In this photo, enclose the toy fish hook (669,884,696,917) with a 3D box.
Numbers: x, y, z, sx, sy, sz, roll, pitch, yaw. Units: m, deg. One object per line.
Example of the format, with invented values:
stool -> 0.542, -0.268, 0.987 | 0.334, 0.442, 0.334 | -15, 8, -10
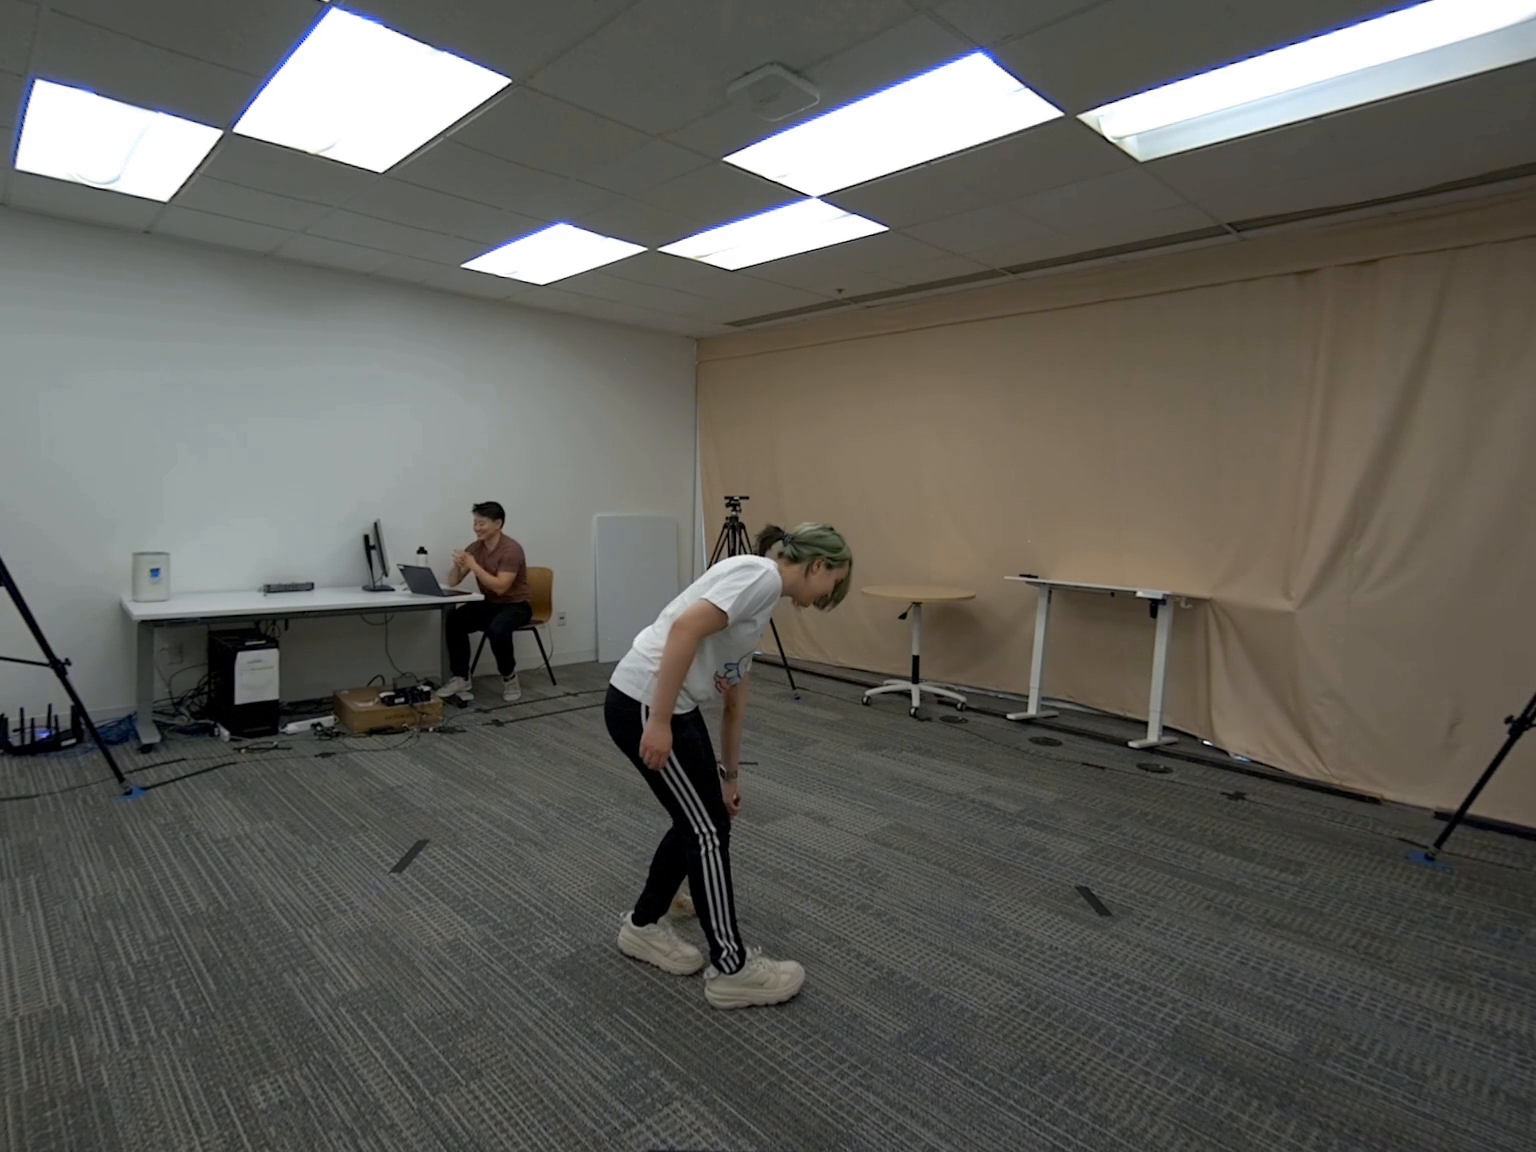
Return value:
toy fish hook -> -0.172, 0.911, 2.715 | 0.219, 0.504, 0.050 | 17, 23, -27
